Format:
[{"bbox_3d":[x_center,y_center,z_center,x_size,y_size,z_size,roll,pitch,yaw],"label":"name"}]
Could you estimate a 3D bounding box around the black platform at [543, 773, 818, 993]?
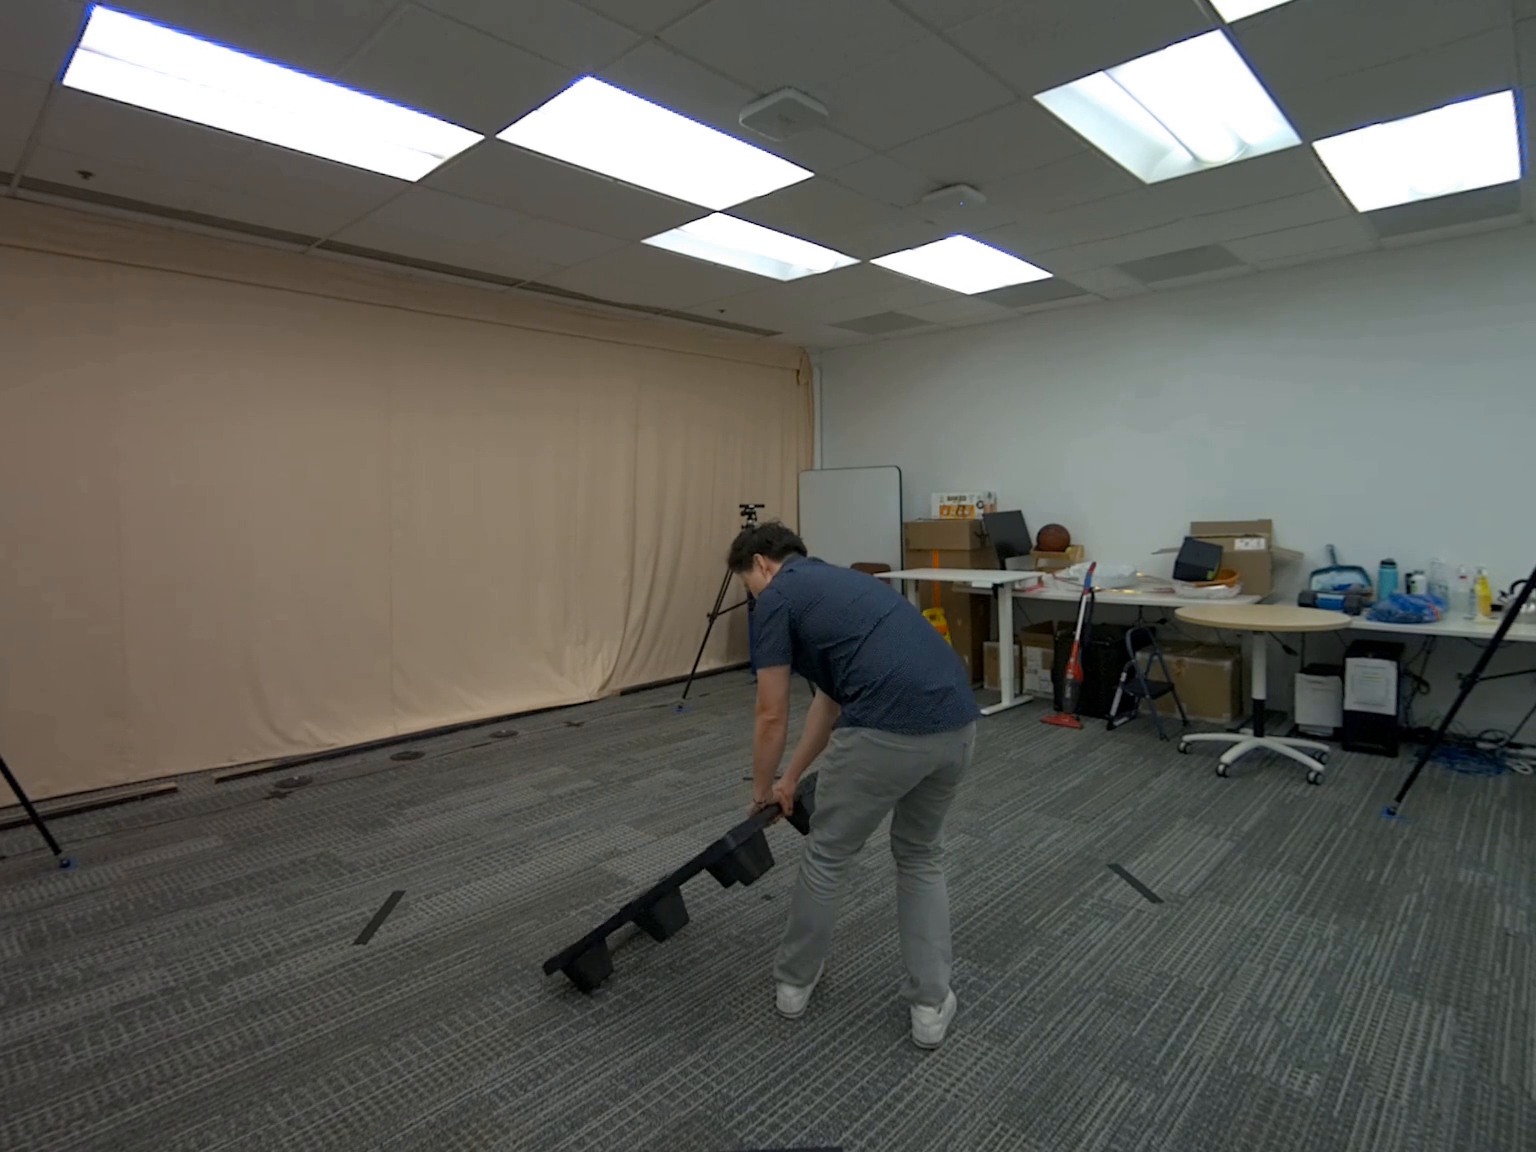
[{"bbox_3d":[-0.202,0.904,2.477,0.812,0.145,0.591,-42,-13,24],"label":"black platform"}]
